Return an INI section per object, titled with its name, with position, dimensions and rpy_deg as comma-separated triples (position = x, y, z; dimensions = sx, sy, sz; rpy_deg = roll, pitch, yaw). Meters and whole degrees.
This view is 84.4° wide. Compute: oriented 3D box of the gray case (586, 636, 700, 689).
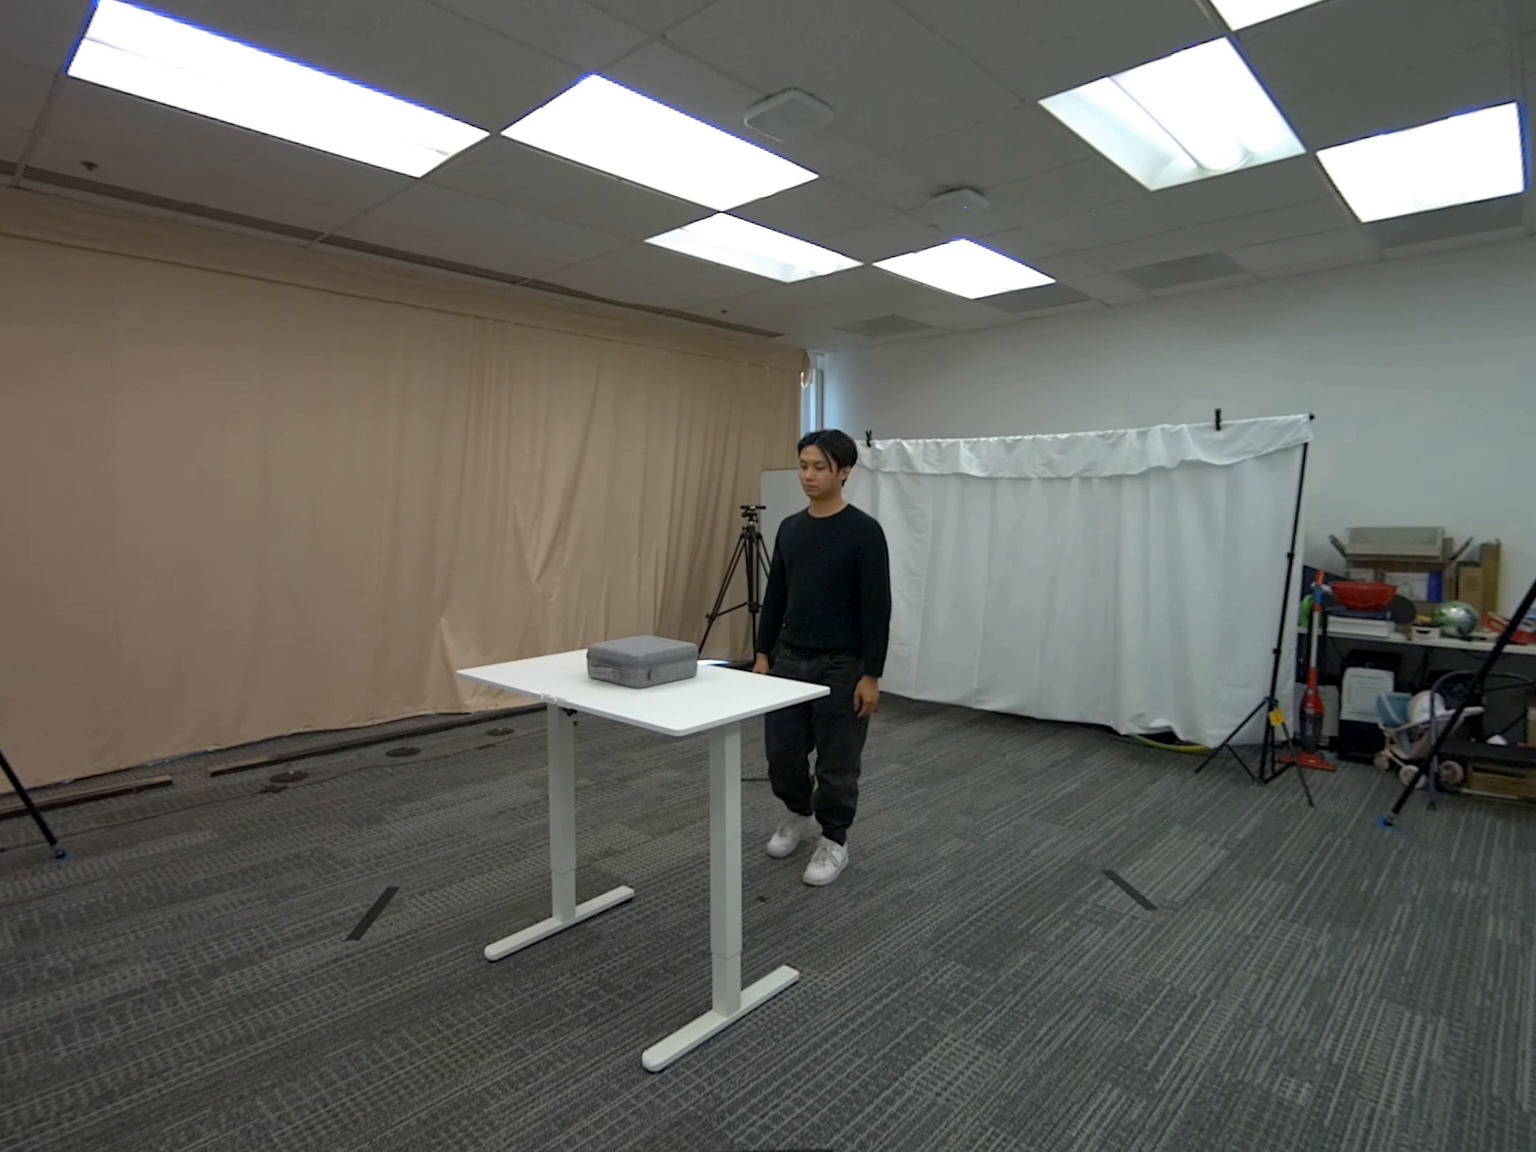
[gray case]
position = -0.373, 0.253, 2.501
dimensions = 0.265, 0.104, 0.253
rpy_deg = 5, 8, 42
